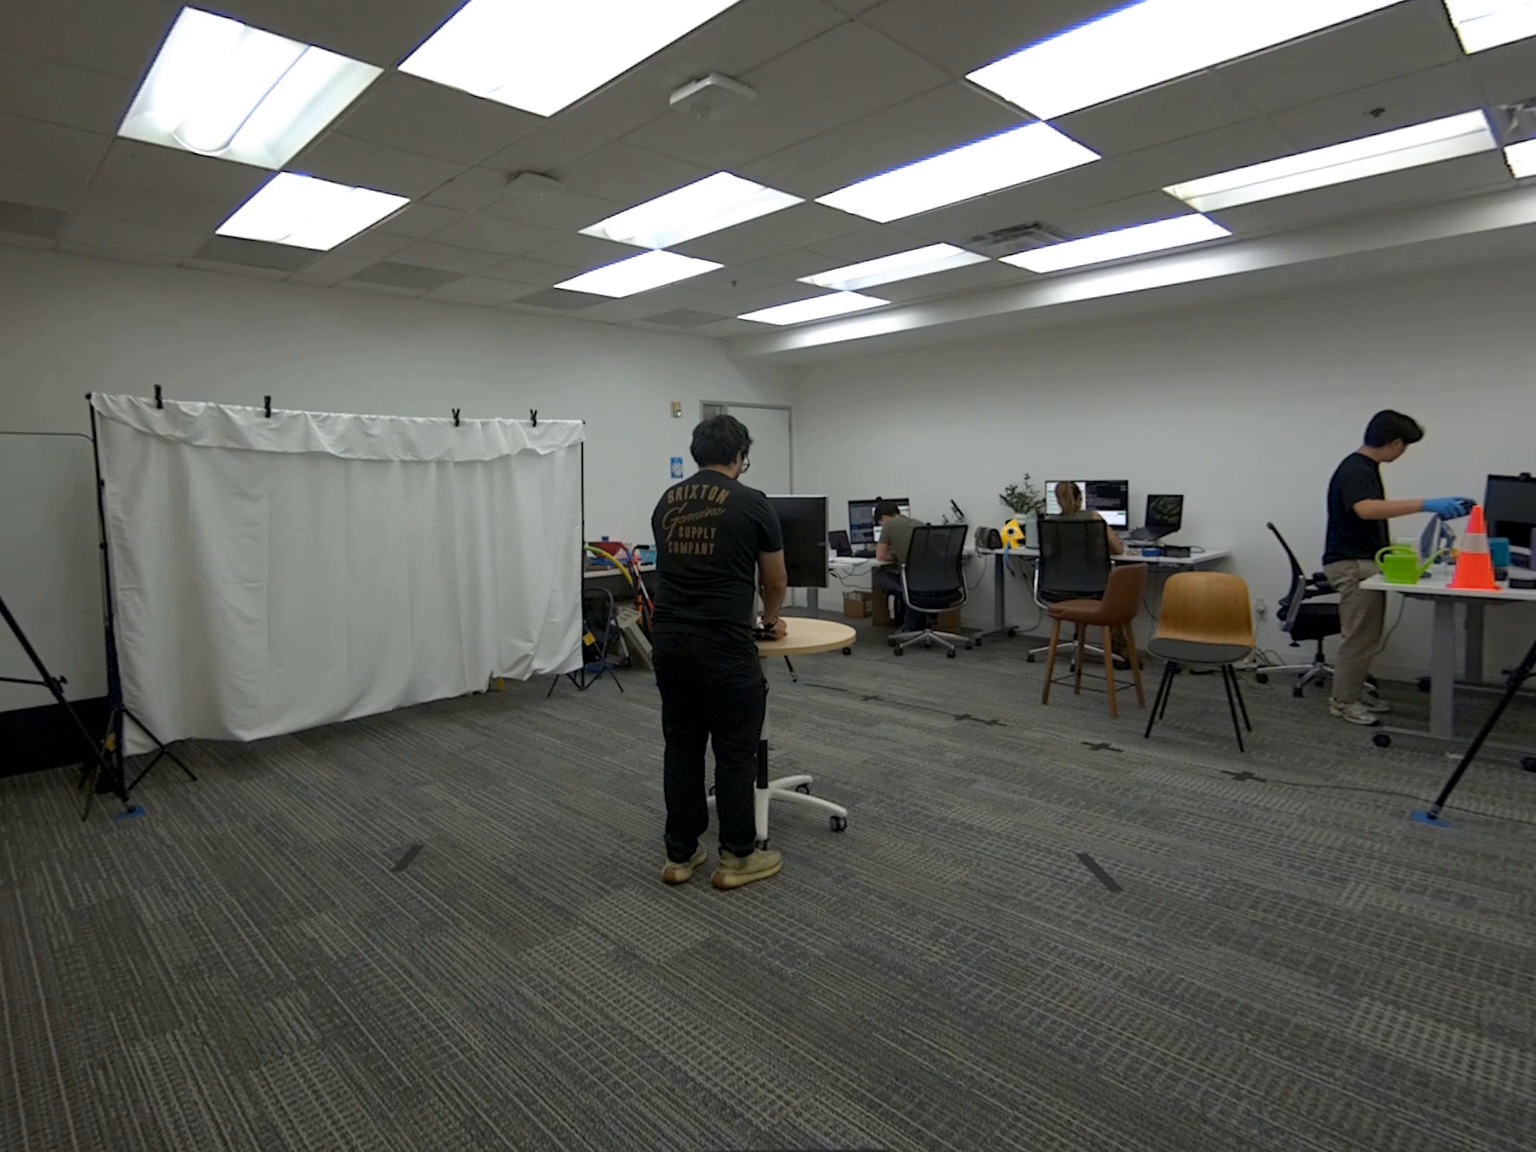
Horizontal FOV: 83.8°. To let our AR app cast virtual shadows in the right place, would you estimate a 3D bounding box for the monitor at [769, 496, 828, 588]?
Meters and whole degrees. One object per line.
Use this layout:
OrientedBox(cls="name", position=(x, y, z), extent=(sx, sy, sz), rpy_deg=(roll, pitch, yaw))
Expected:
OrientedBox(cls="monitor", position=(-0.053, -0.049, 3.345), extent=(0.576, 0.554, 0.206), rpy_deg=(2, -1, 20))
